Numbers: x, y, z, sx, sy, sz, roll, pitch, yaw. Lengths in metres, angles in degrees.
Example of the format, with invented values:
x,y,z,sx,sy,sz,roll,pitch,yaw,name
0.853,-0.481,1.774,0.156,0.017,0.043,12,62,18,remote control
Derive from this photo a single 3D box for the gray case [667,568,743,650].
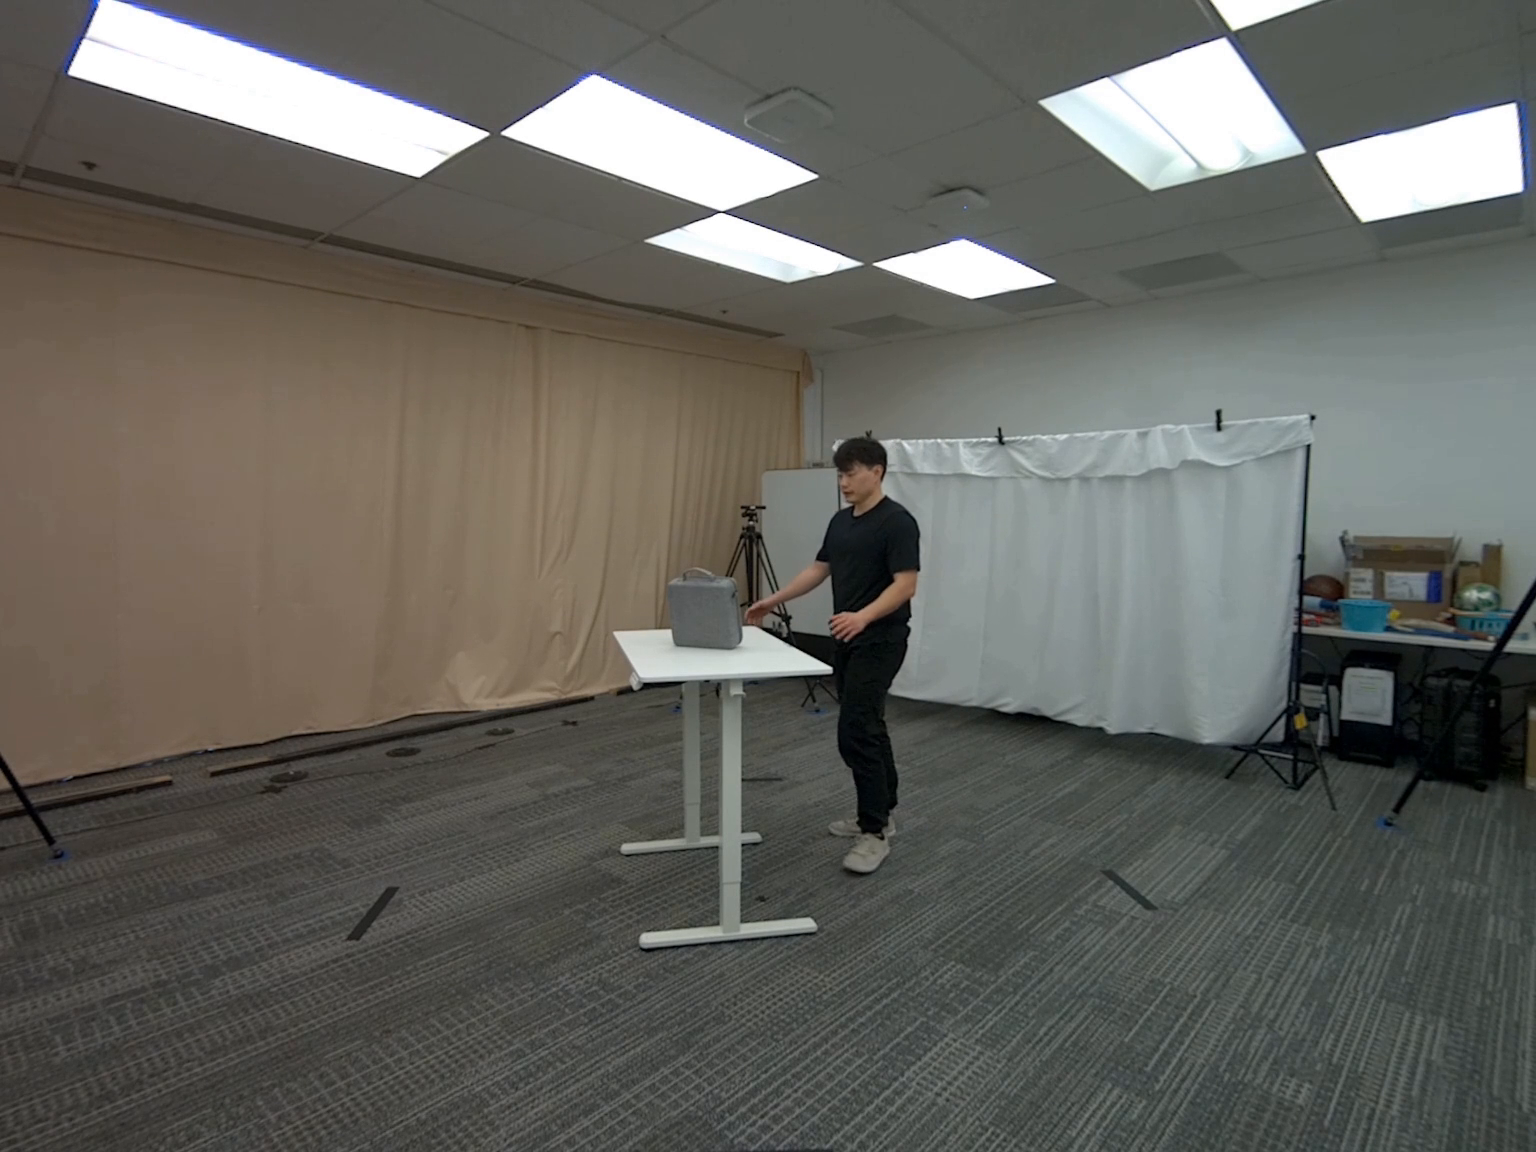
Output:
x,y,z,sx,sy,sz,roll,pitch,yaw,name
-0.223,0.130,3.037,0.263,0.258,0.103,0,14,23,gray case
